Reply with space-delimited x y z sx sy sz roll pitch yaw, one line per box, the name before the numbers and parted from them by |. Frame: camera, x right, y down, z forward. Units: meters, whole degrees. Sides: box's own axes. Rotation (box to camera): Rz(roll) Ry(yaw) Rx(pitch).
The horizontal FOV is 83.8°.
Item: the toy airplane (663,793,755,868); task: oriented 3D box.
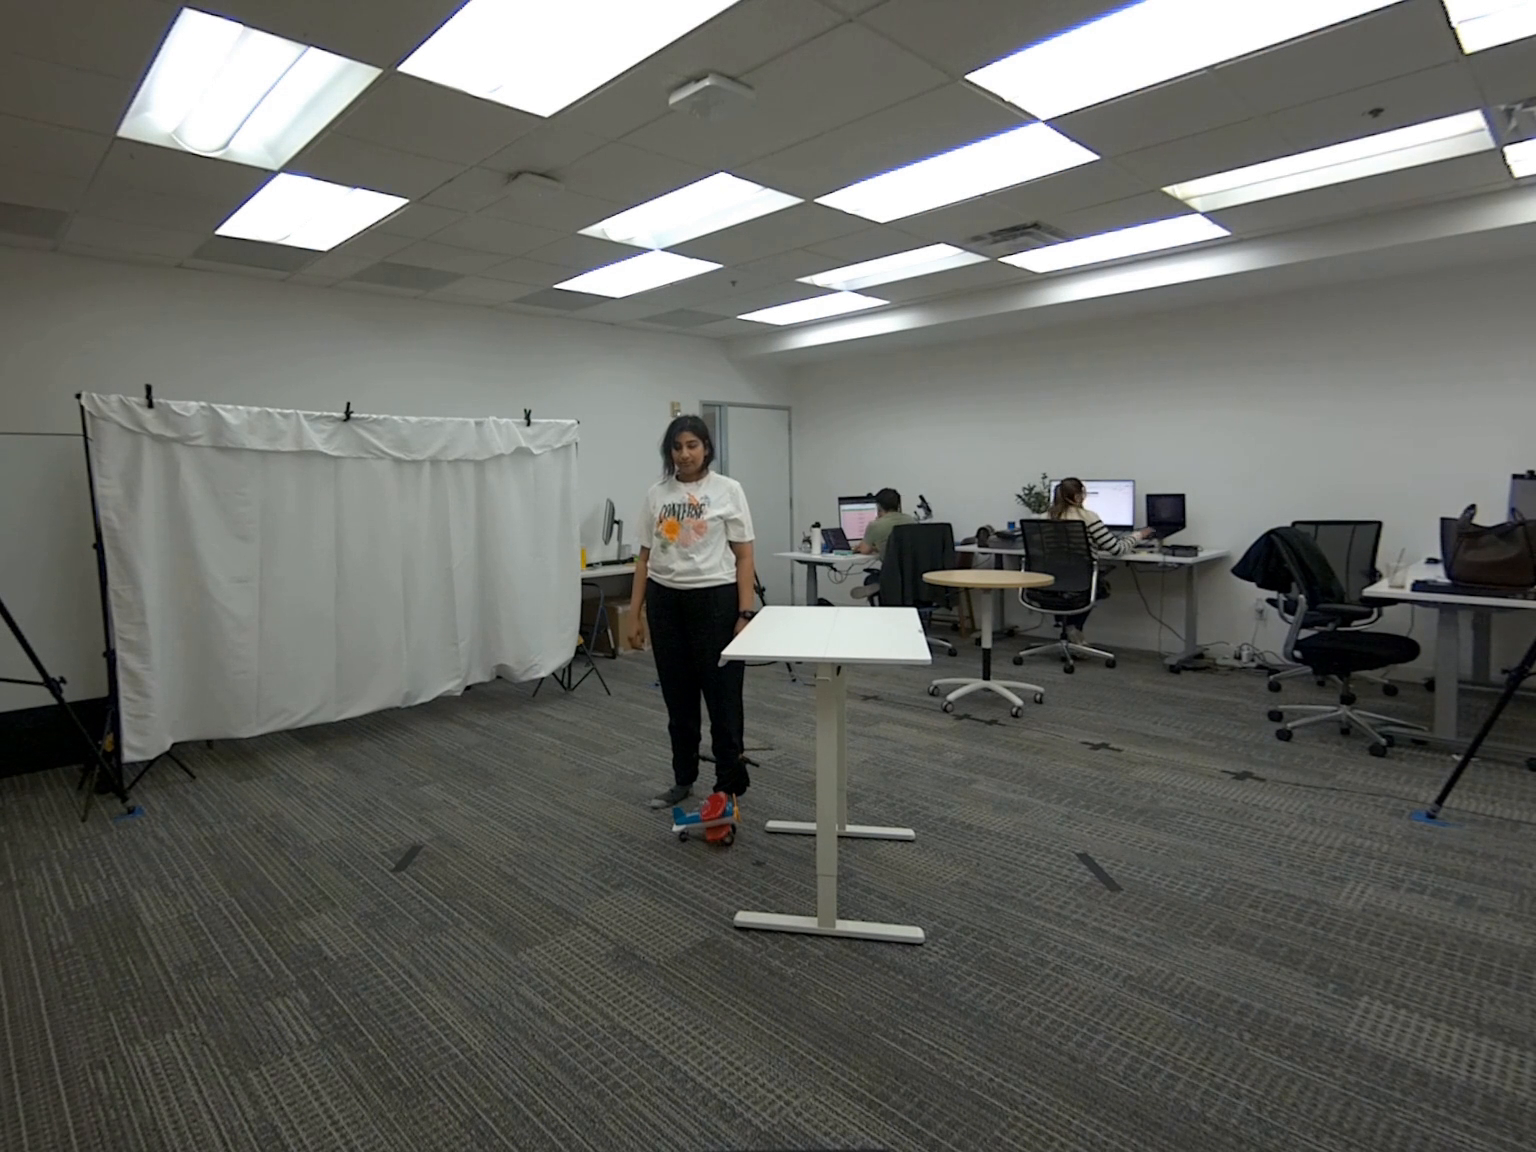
toy airplane | -0.231 0.966 3.300 0.254 0.156 0.257 -6 5 -27
